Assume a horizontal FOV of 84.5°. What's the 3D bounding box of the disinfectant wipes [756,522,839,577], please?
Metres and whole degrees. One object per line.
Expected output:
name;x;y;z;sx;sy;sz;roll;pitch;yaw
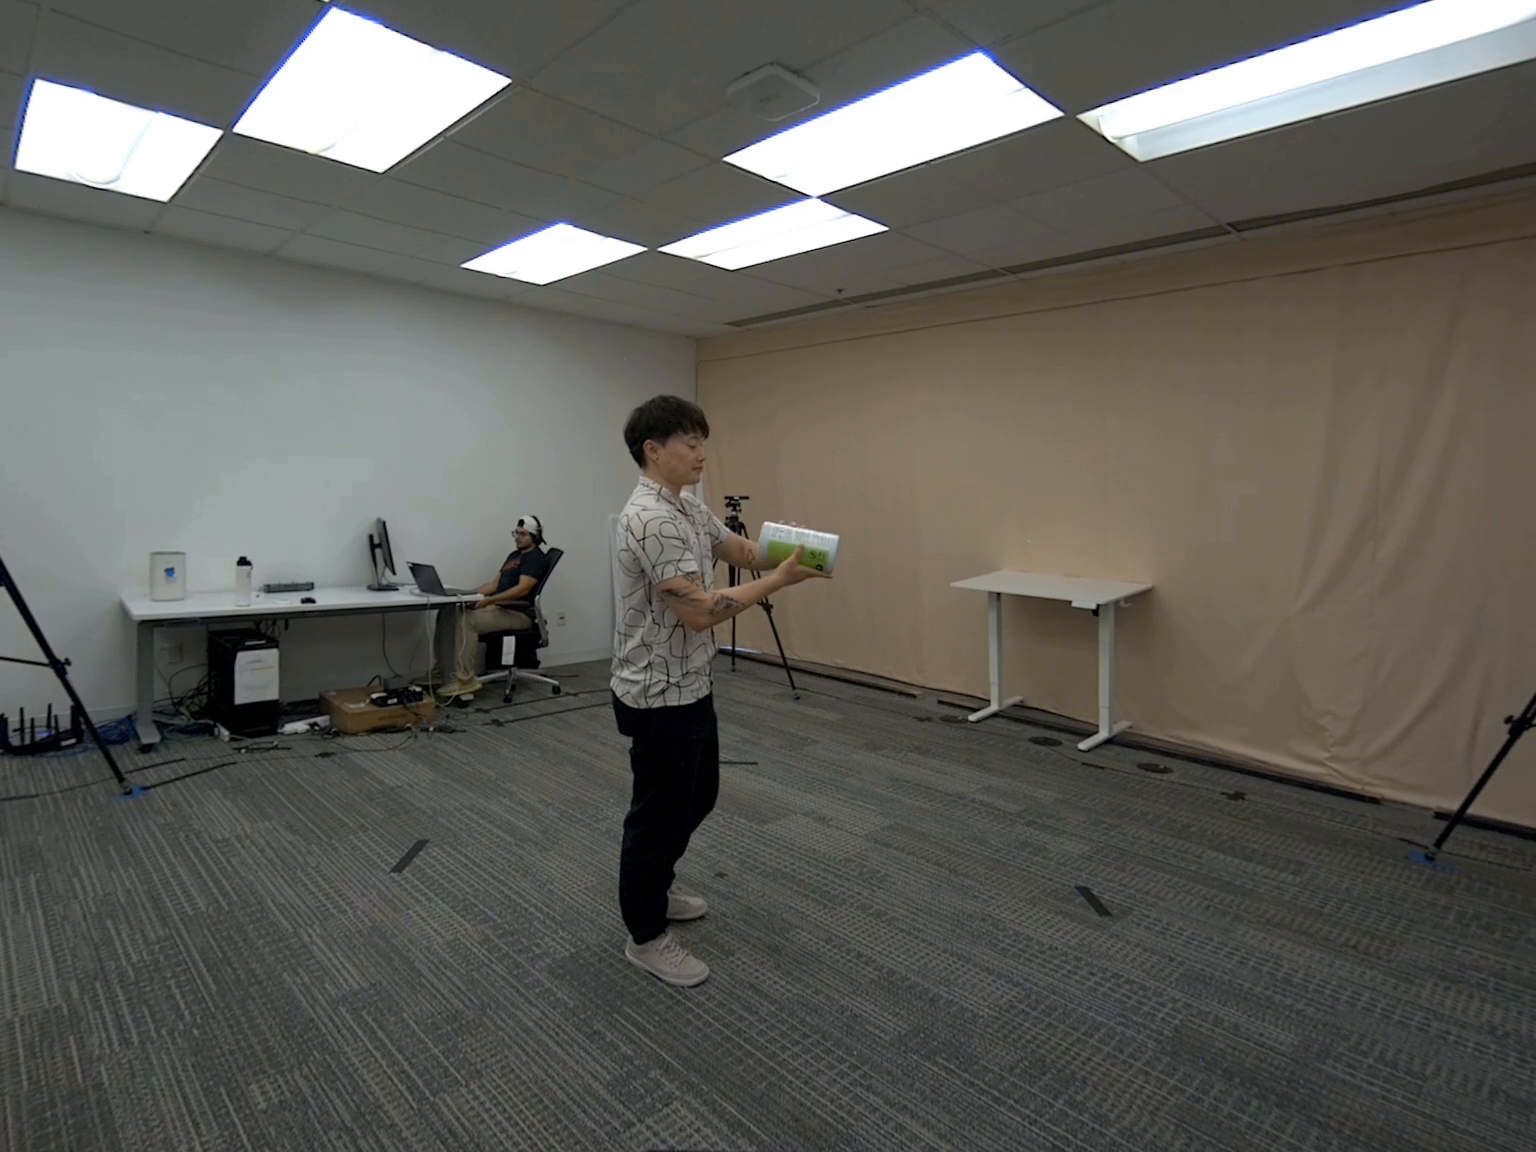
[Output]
disinfectant wipes;0.074;-0.081;2.331;0.218;0.117;0.117;10;5;5
